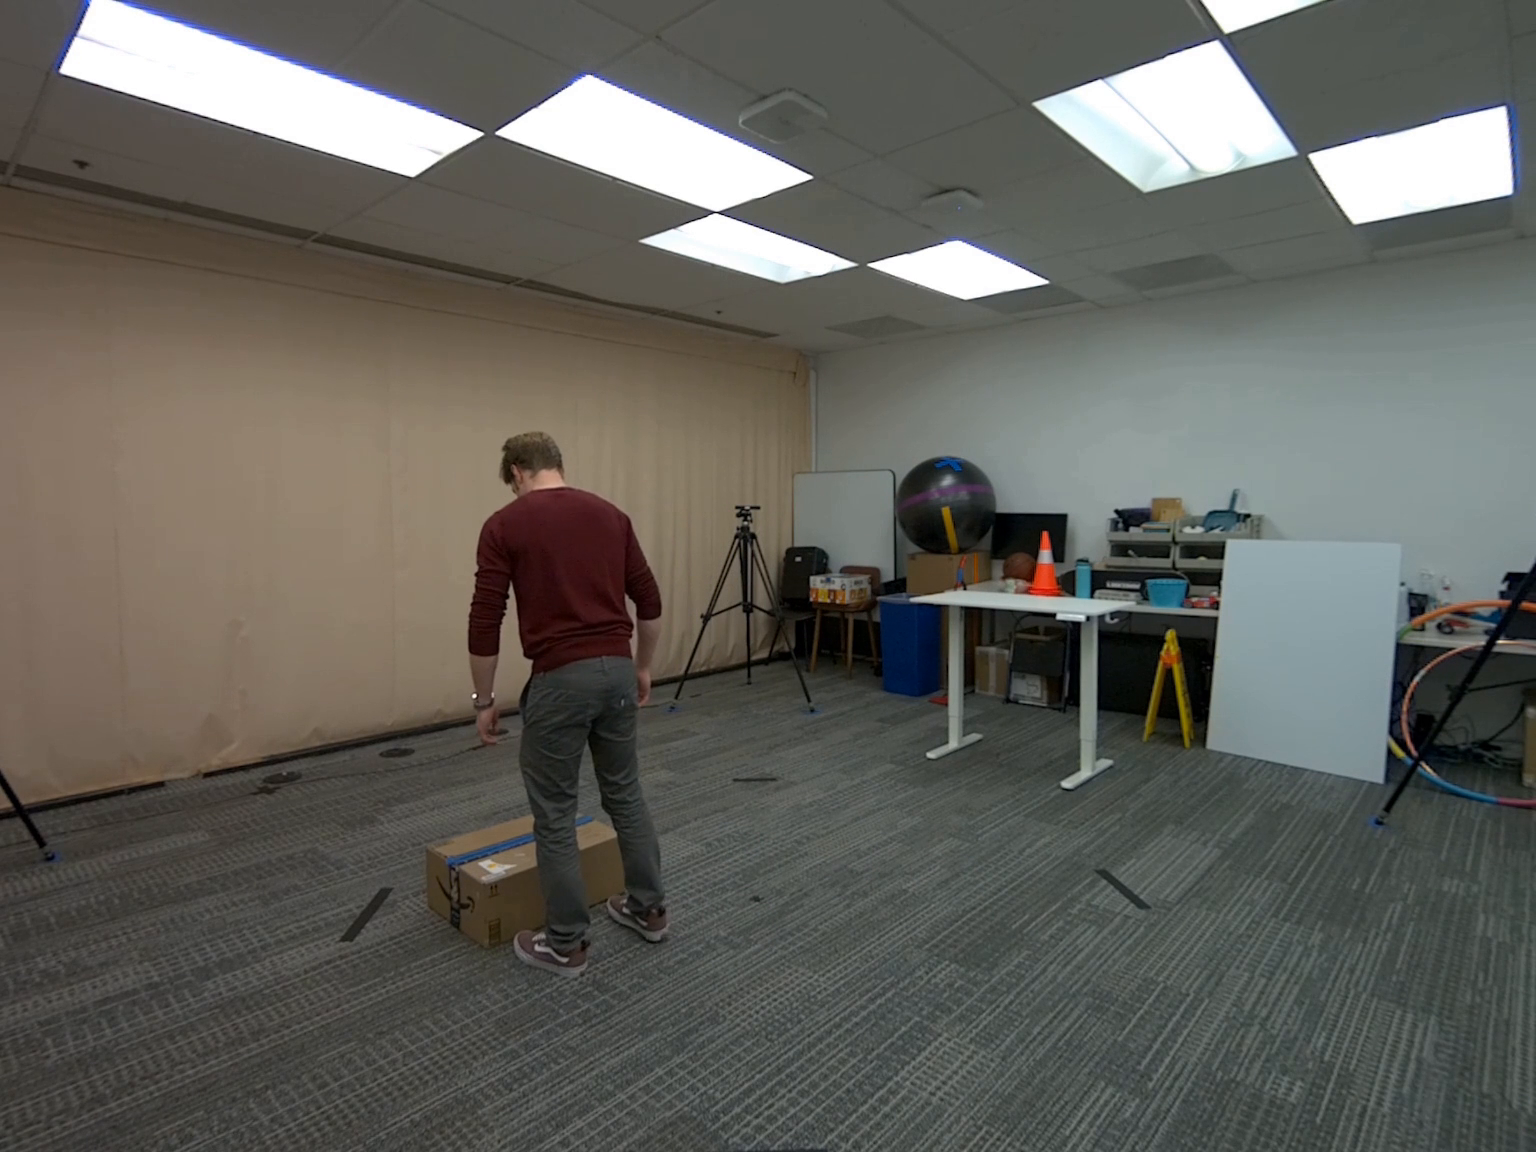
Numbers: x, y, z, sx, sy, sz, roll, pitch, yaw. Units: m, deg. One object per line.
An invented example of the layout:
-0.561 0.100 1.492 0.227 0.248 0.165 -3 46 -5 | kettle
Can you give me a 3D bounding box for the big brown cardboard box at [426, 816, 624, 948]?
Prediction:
-0.851 1.035 2.984 0.431 0.233 0.571 3 5 44 | big brown cardboard box
